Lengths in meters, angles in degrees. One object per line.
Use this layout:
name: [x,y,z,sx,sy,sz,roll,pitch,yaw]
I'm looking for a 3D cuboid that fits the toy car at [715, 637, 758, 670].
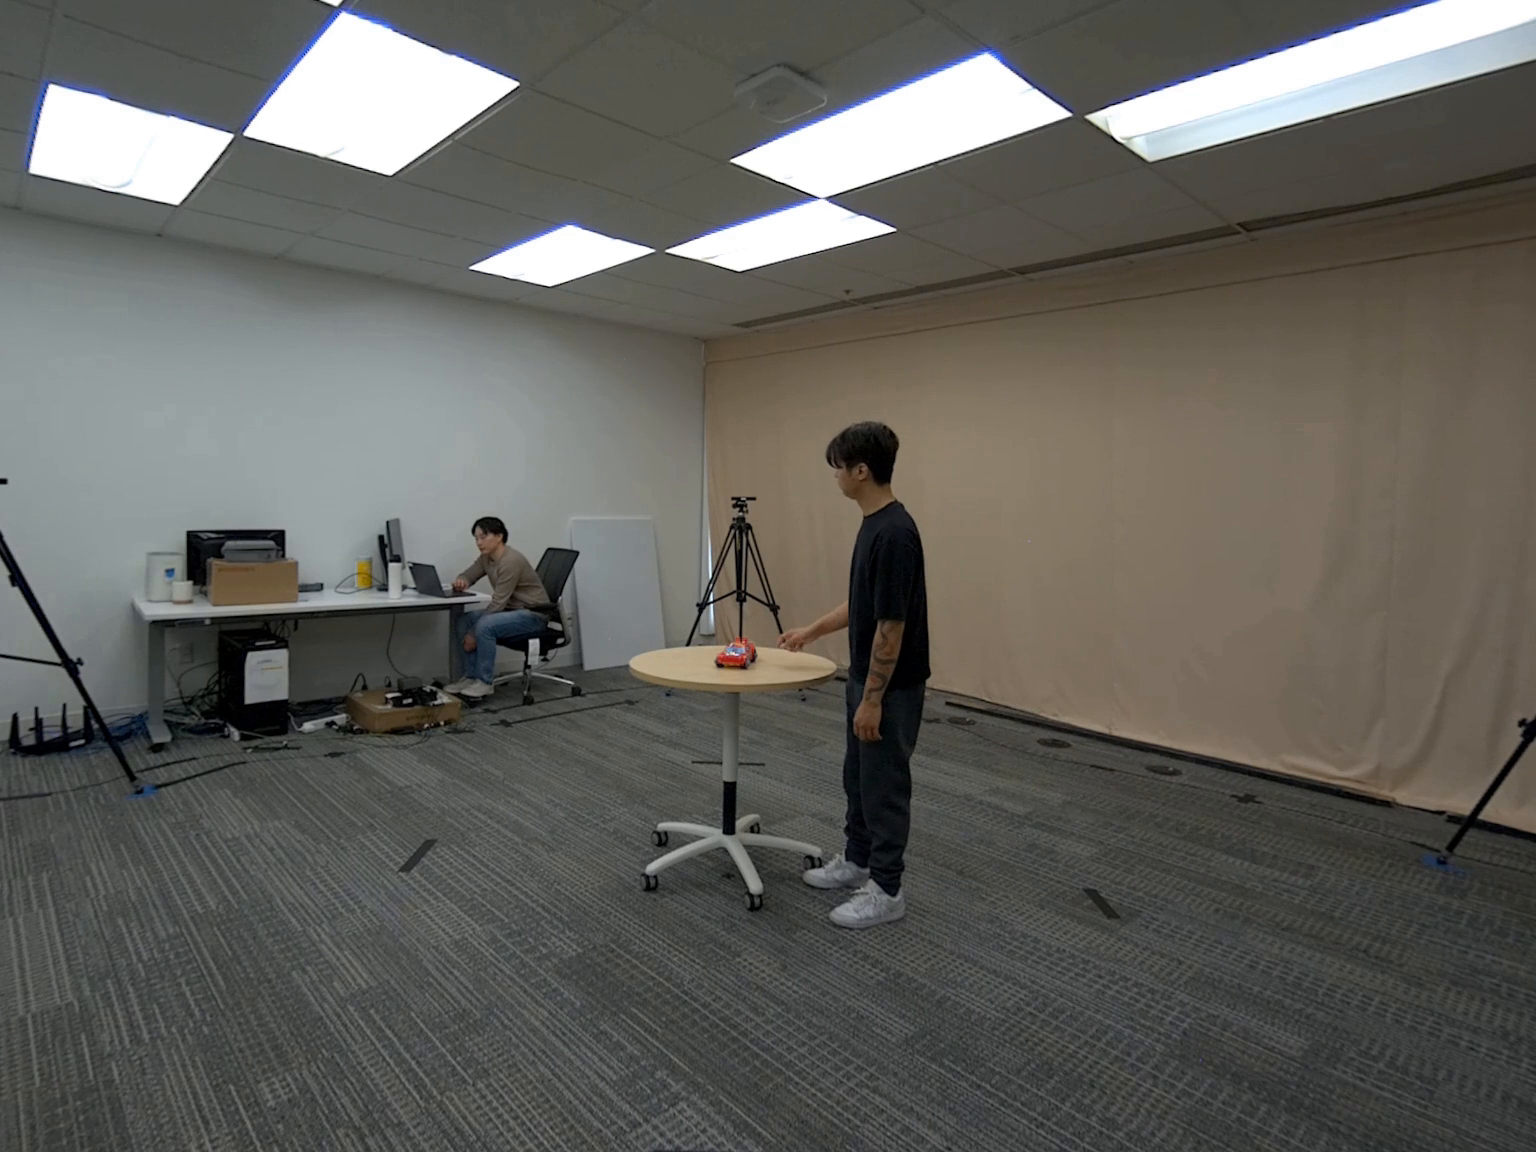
toy car: [-0.116,0.293,3.108,0.131,0.082,0.255,1,16,10]
